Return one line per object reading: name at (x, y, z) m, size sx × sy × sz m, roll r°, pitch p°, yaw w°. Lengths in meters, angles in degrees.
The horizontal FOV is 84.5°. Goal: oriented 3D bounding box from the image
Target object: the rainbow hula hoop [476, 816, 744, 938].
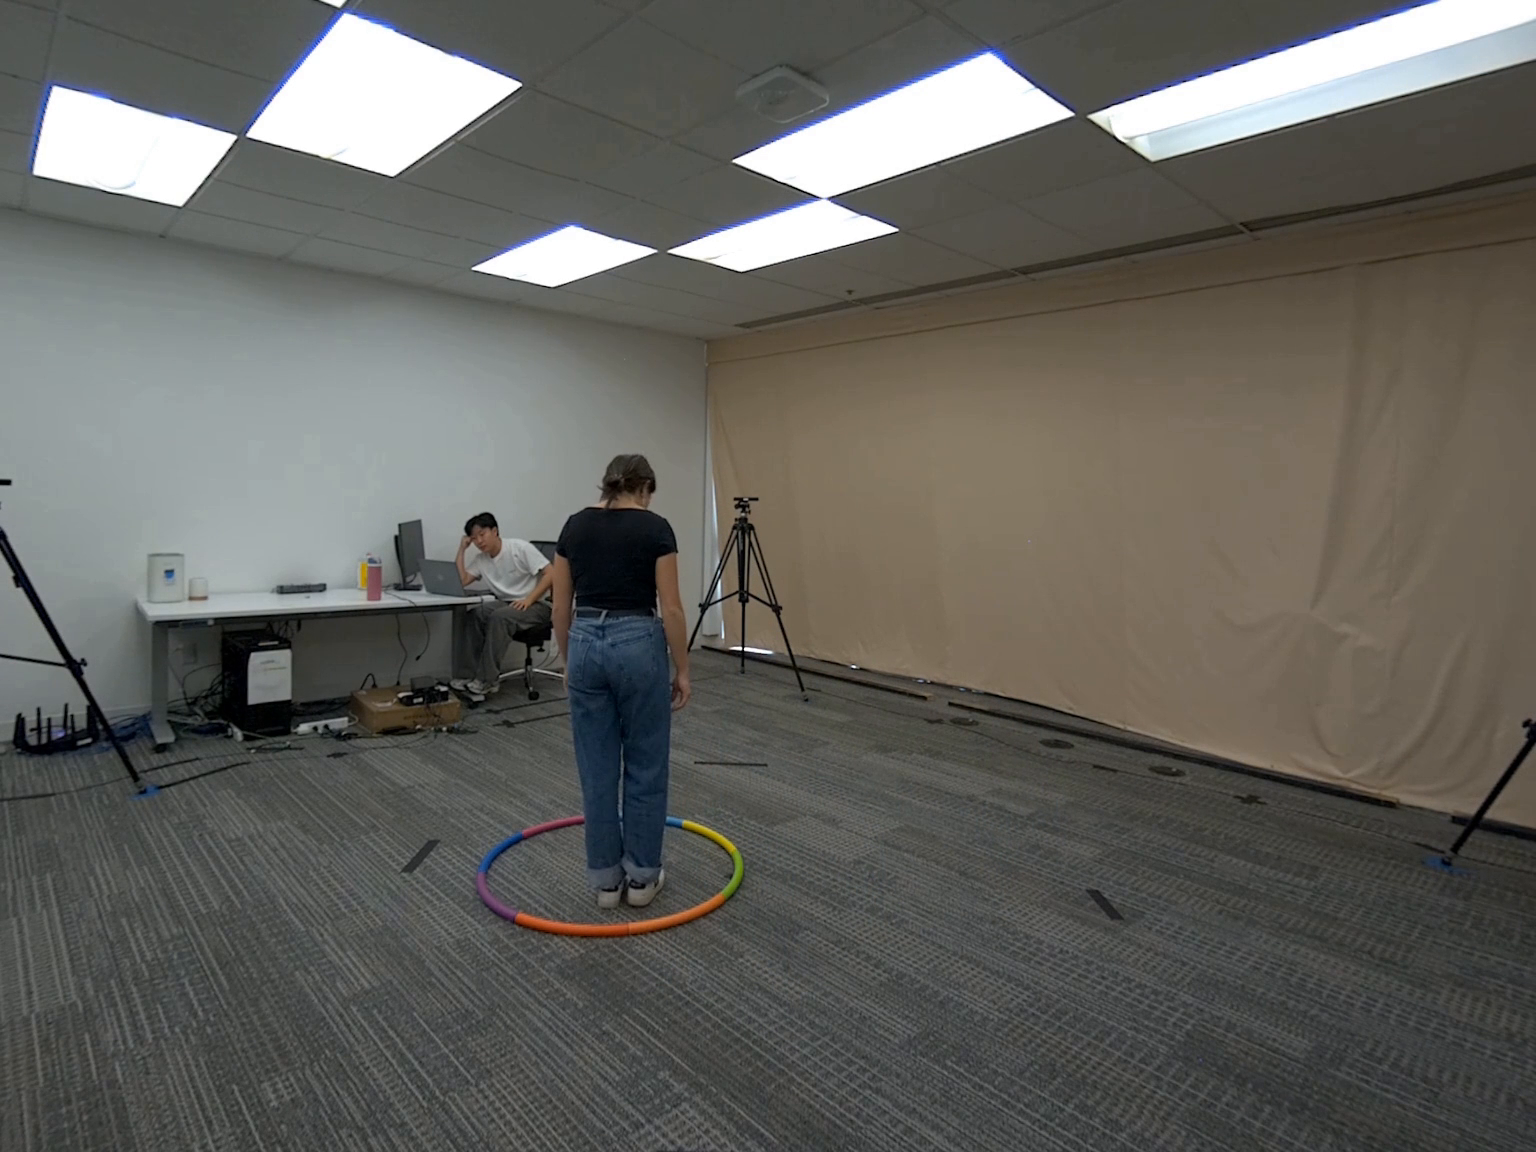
rainbow hula hoop at (-0.579, 1.068, 3.132) m, size 0.978 × 0.035 × 0.982 m, roll 1°, pitch 5°, yaw -1°
